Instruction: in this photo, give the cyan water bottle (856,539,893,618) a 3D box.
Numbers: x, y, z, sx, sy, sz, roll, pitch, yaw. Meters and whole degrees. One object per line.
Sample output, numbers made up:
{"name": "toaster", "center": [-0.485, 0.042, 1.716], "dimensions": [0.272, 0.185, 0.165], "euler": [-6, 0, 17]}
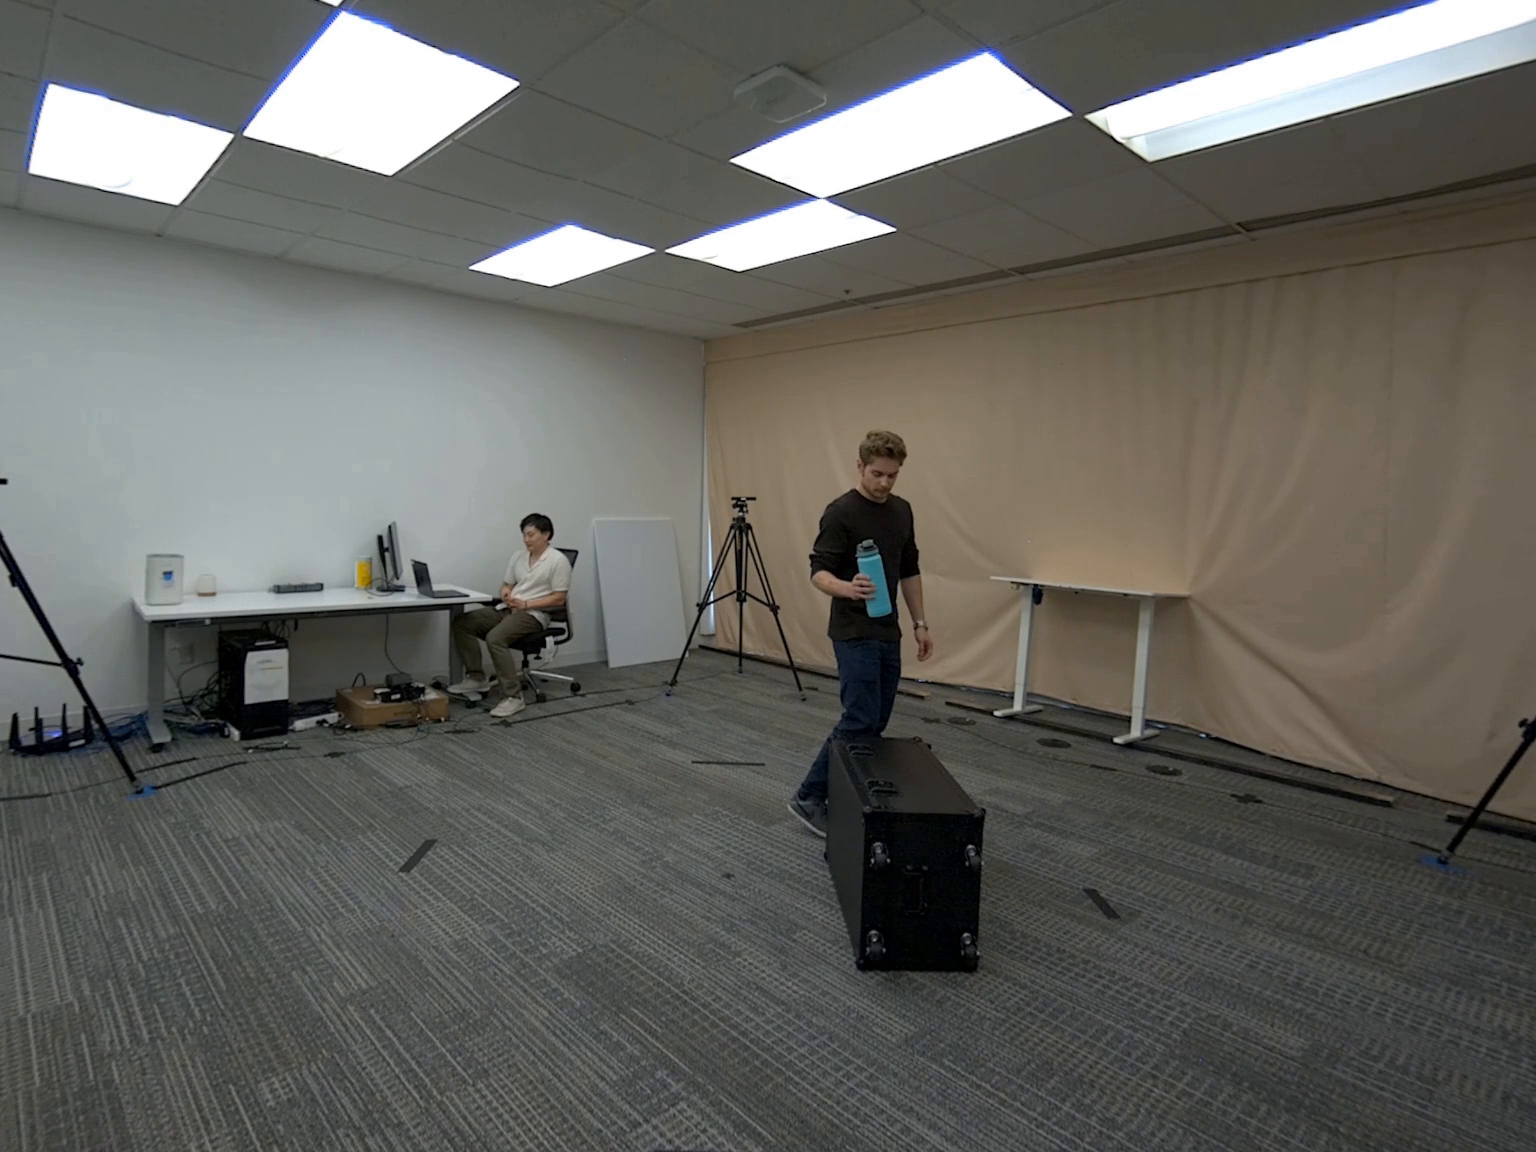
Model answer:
{"name": "cyan water bottle", "center": [0.382, 0.006, 3.166], "dimensions": [0.092, 0.282, 0.093], "euler": [-10, 7, 0]}
